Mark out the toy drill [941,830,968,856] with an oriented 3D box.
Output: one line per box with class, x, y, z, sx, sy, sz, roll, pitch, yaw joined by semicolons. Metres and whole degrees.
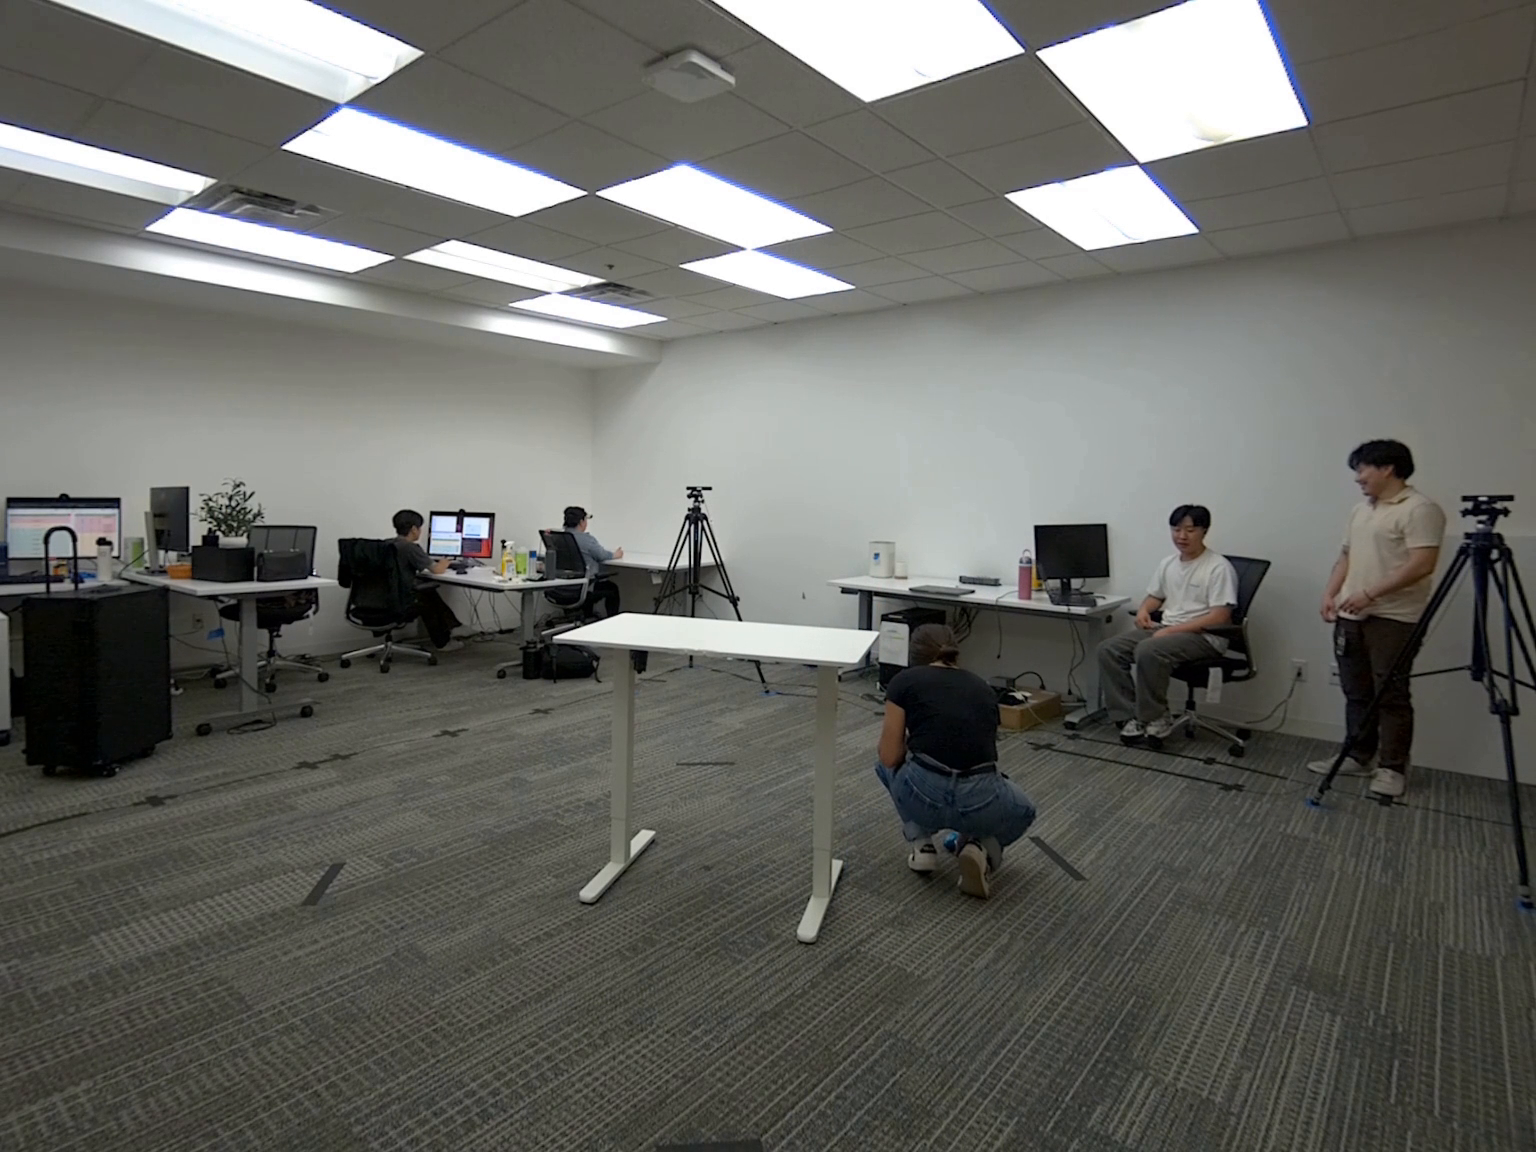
toy drill;0.761;1.036;3.303;0.165;0.061;0.151;-1;8;-36
